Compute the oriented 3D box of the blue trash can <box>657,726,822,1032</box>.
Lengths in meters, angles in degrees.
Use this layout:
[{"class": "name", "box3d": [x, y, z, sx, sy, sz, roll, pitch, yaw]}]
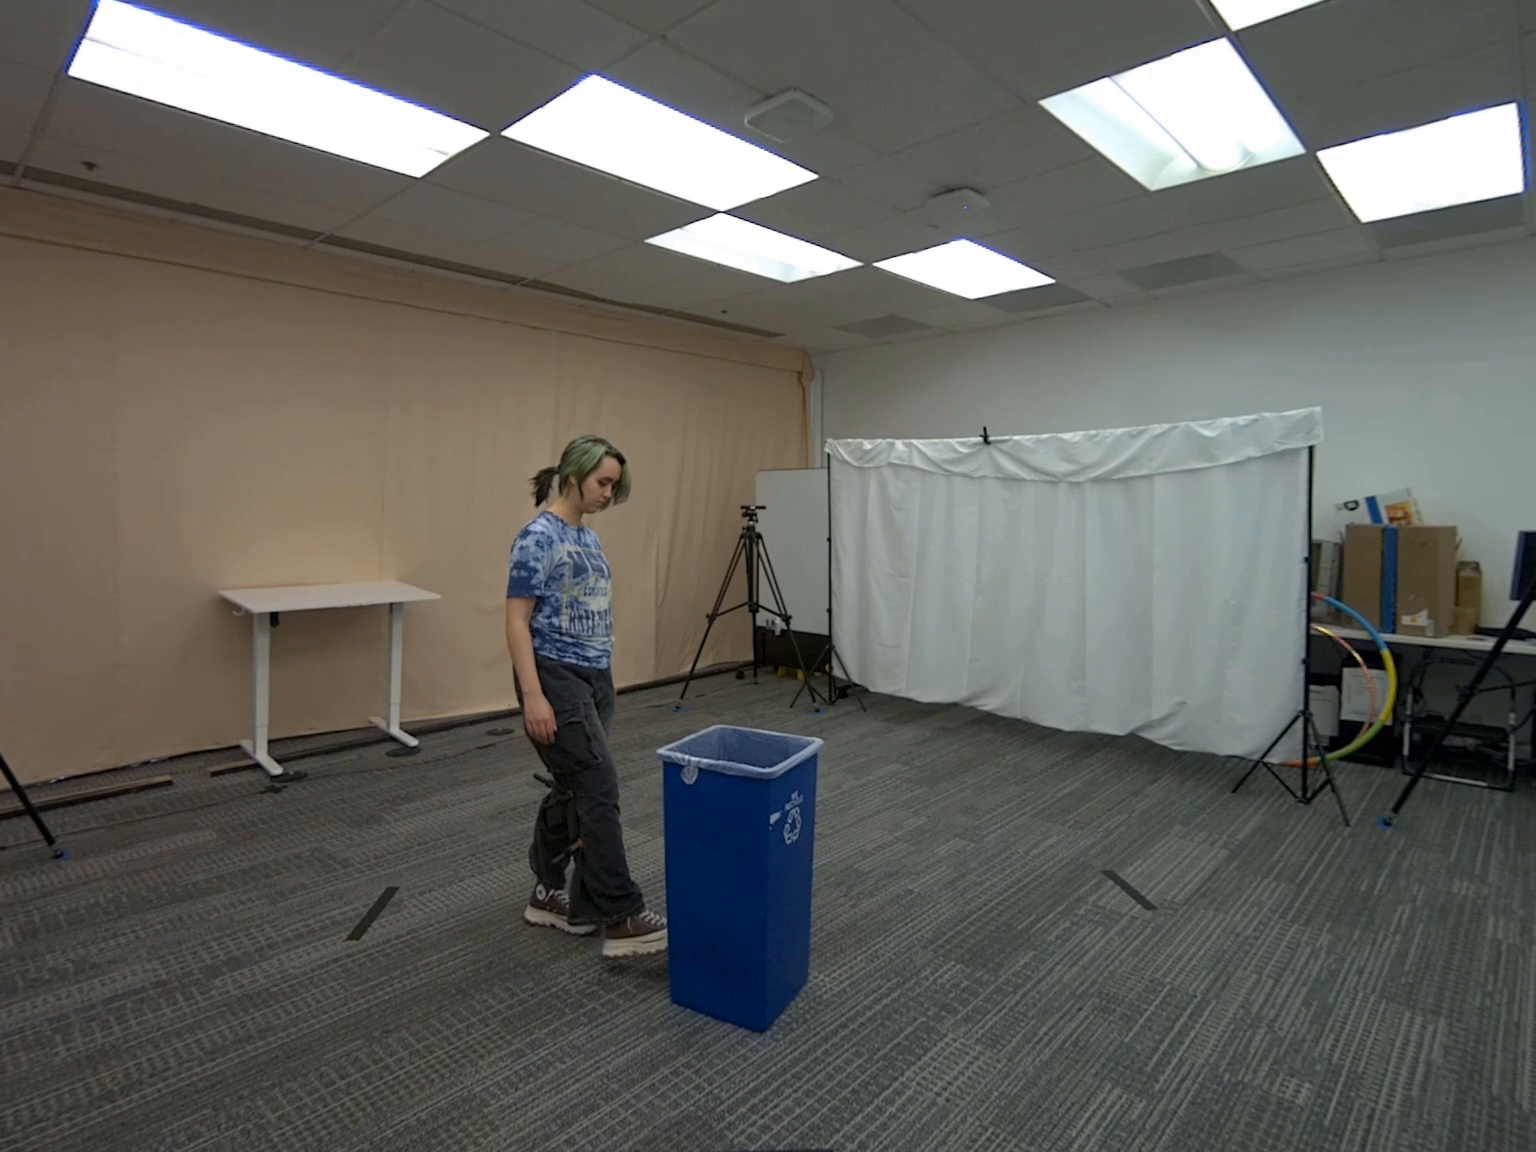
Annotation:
[{"class": "blue trash can", "box3d": [-0.069, 0.838, 2.399, 0.389, 0.712, 0.364, 2, 4, 28]}]
